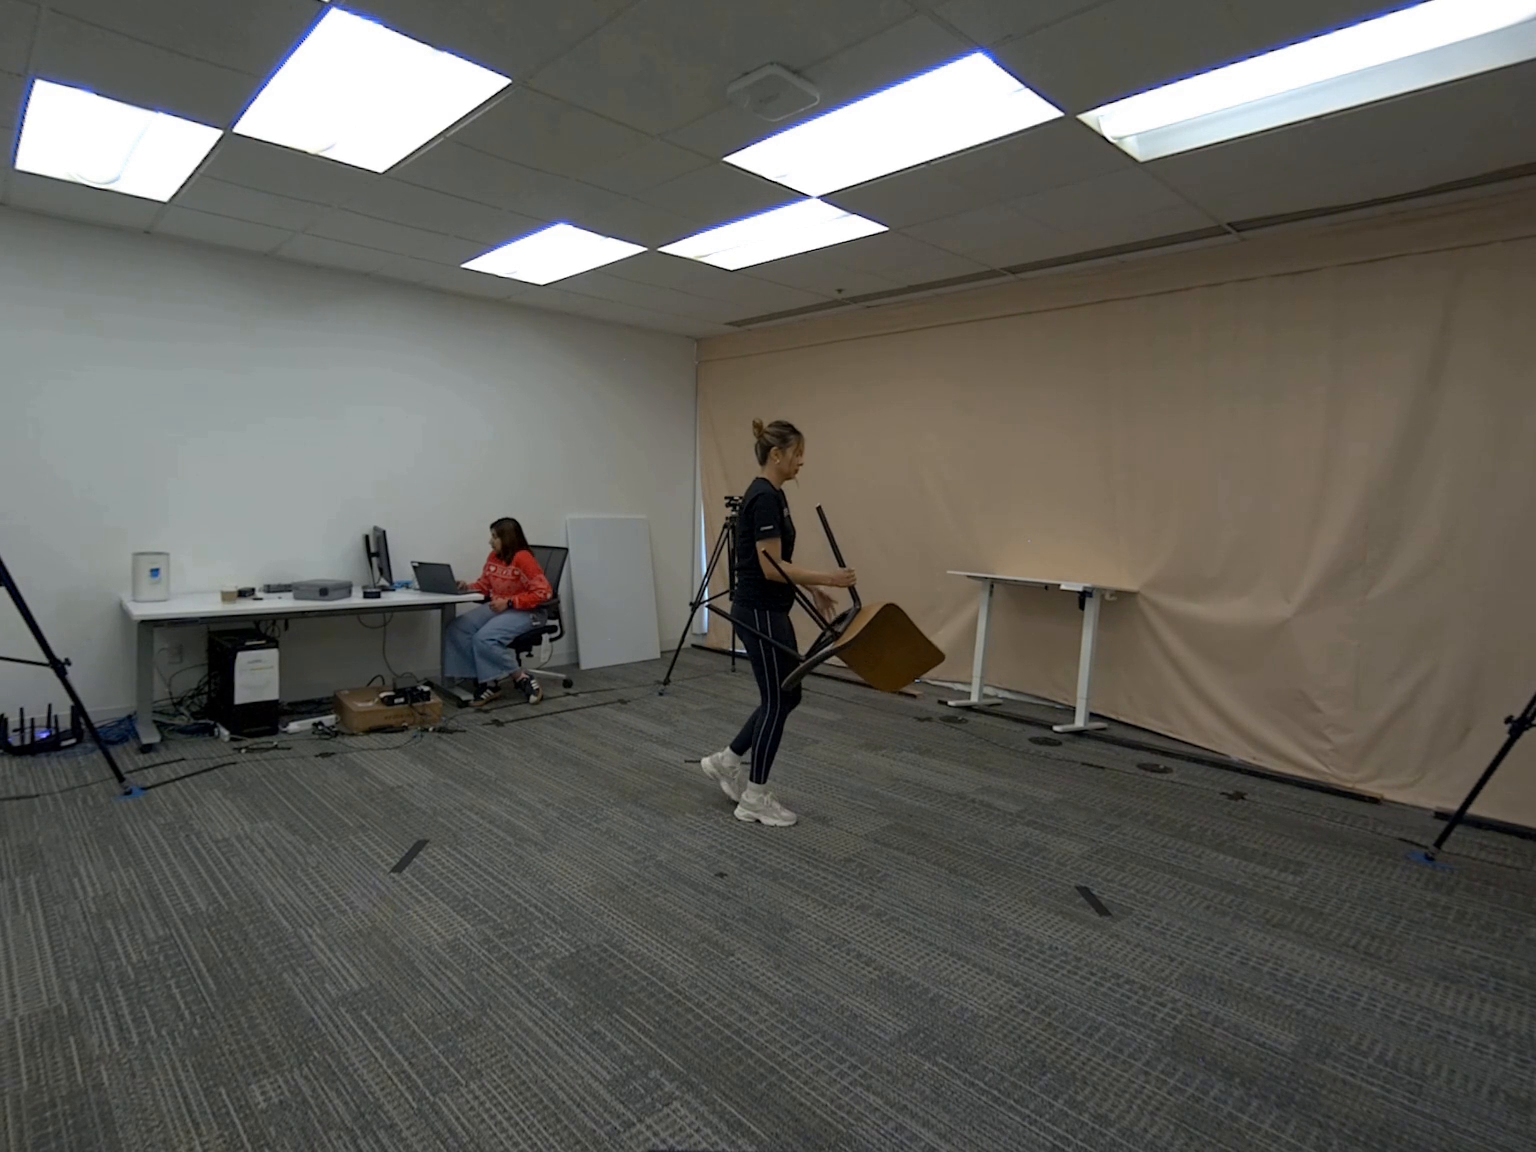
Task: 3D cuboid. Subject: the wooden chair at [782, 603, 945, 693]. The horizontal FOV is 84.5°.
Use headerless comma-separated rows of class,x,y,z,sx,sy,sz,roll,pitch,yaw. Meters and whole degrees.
wooden chair,0.251,0.232,3.462,0.479,0.878,0.522,-44,-1,42
